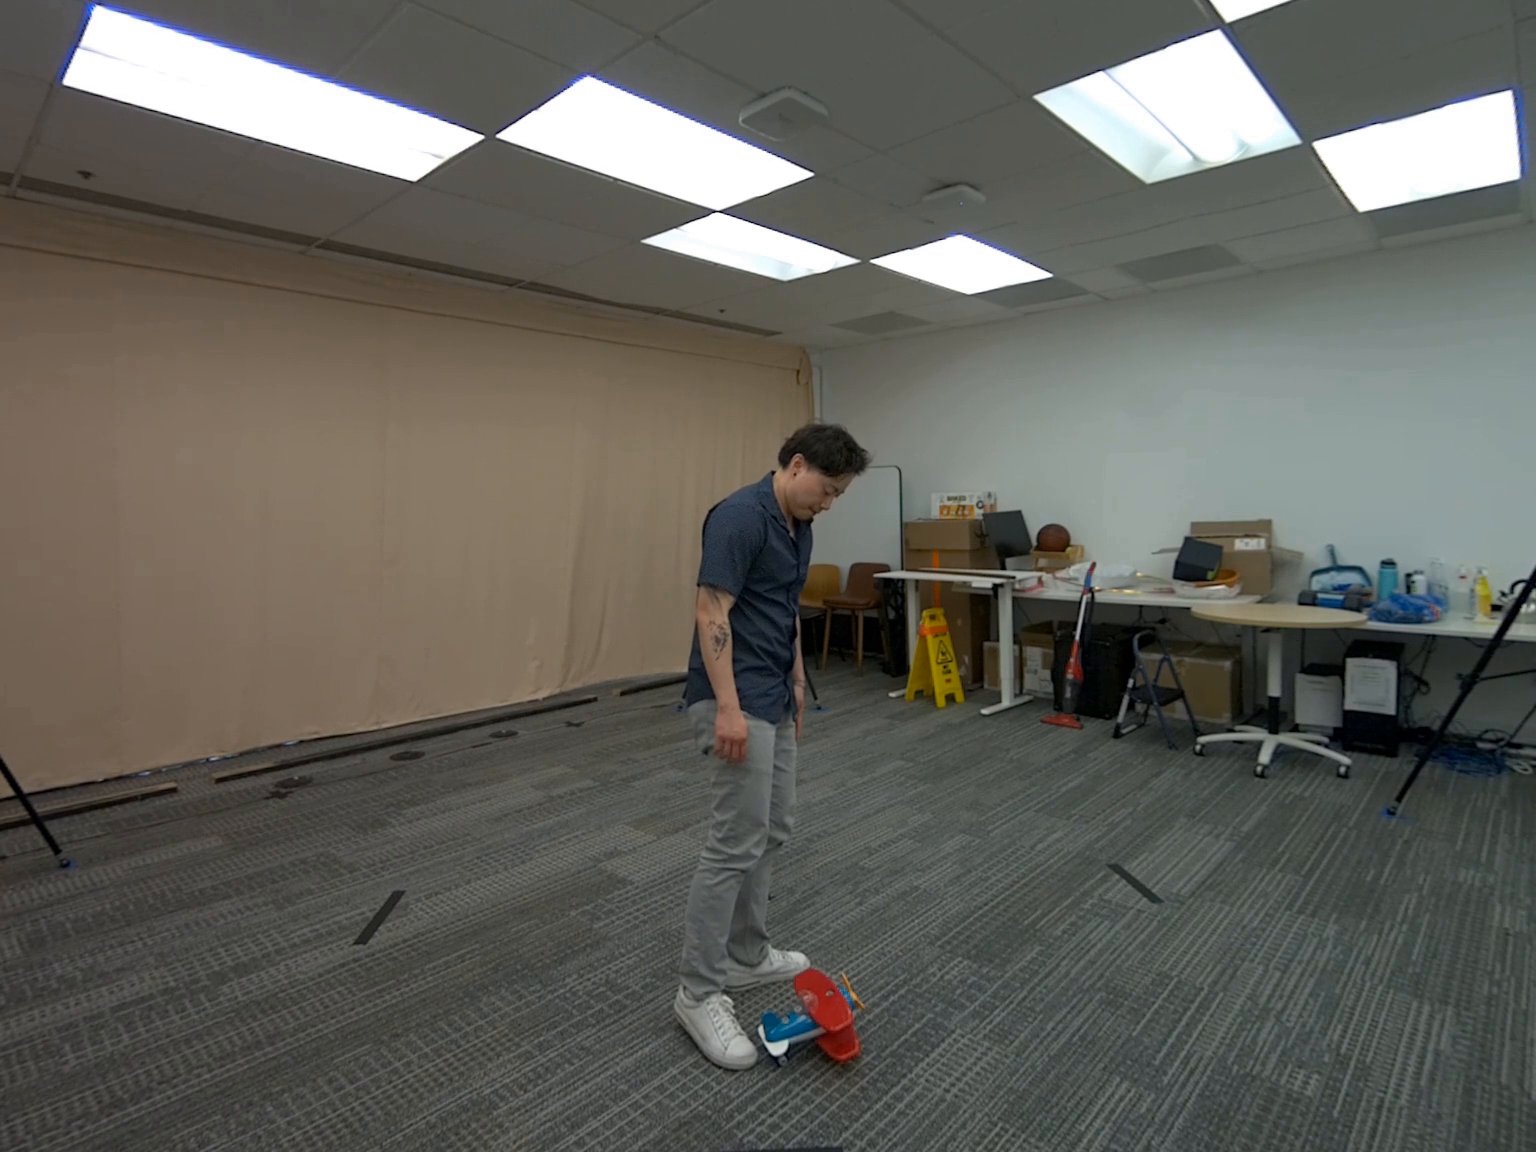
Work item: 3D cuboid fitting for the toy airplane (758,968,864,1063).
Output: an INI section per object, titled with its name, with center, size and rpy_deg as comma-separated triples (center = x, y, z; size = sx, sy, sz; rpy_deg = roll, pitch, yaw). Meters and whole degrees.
[toy airplane]
center = 0.123, 1.145, 2.106
size = 0.259, 0.156, 0.251
rpy_deg = 4, 6, 44
